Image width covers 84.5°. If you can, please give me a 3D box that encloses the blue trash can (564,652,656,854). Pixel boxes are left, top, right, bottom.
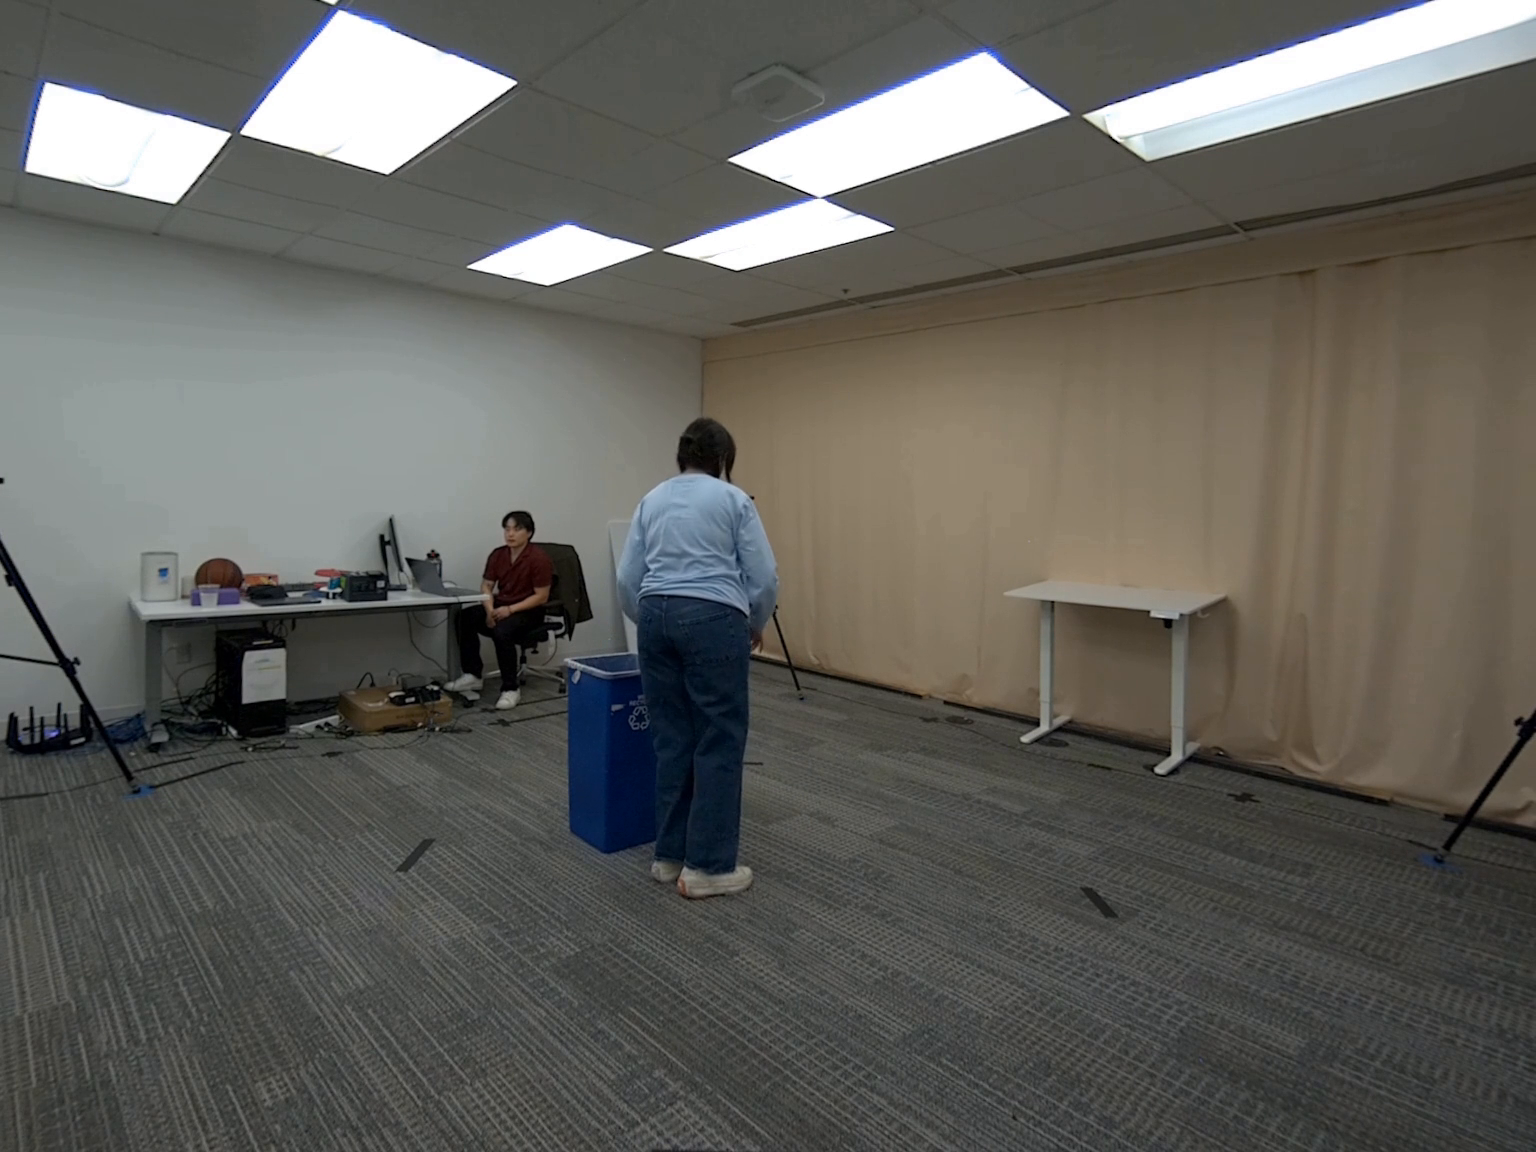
[{"bbox_3d":[-0.607,0.705,3.458,0.365,0.712,0.388,-1,5,-41],"label":"blue trash can"}]
